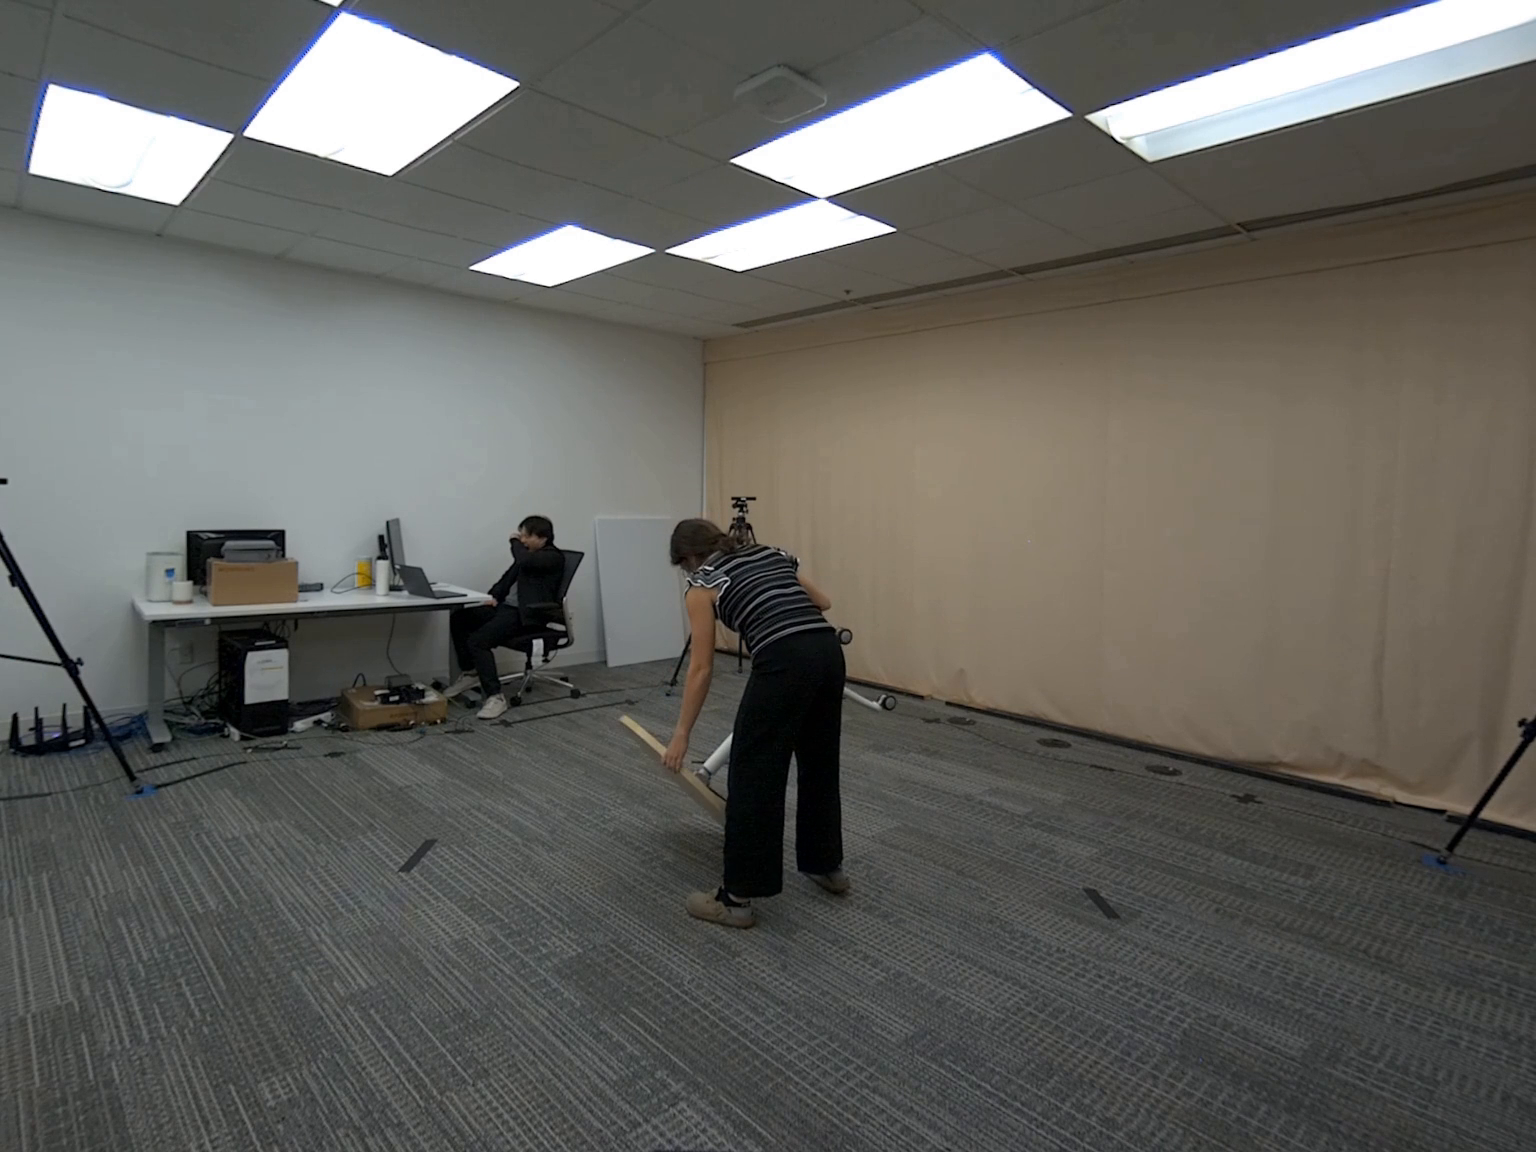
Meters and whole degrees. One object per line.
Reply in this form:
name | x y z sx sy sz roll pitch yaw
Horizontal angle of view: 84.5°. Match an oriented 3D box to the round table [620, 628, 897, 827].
round table | -0.046 0.543 3.319 0.793 0.747 0.781 -46 23 -18
